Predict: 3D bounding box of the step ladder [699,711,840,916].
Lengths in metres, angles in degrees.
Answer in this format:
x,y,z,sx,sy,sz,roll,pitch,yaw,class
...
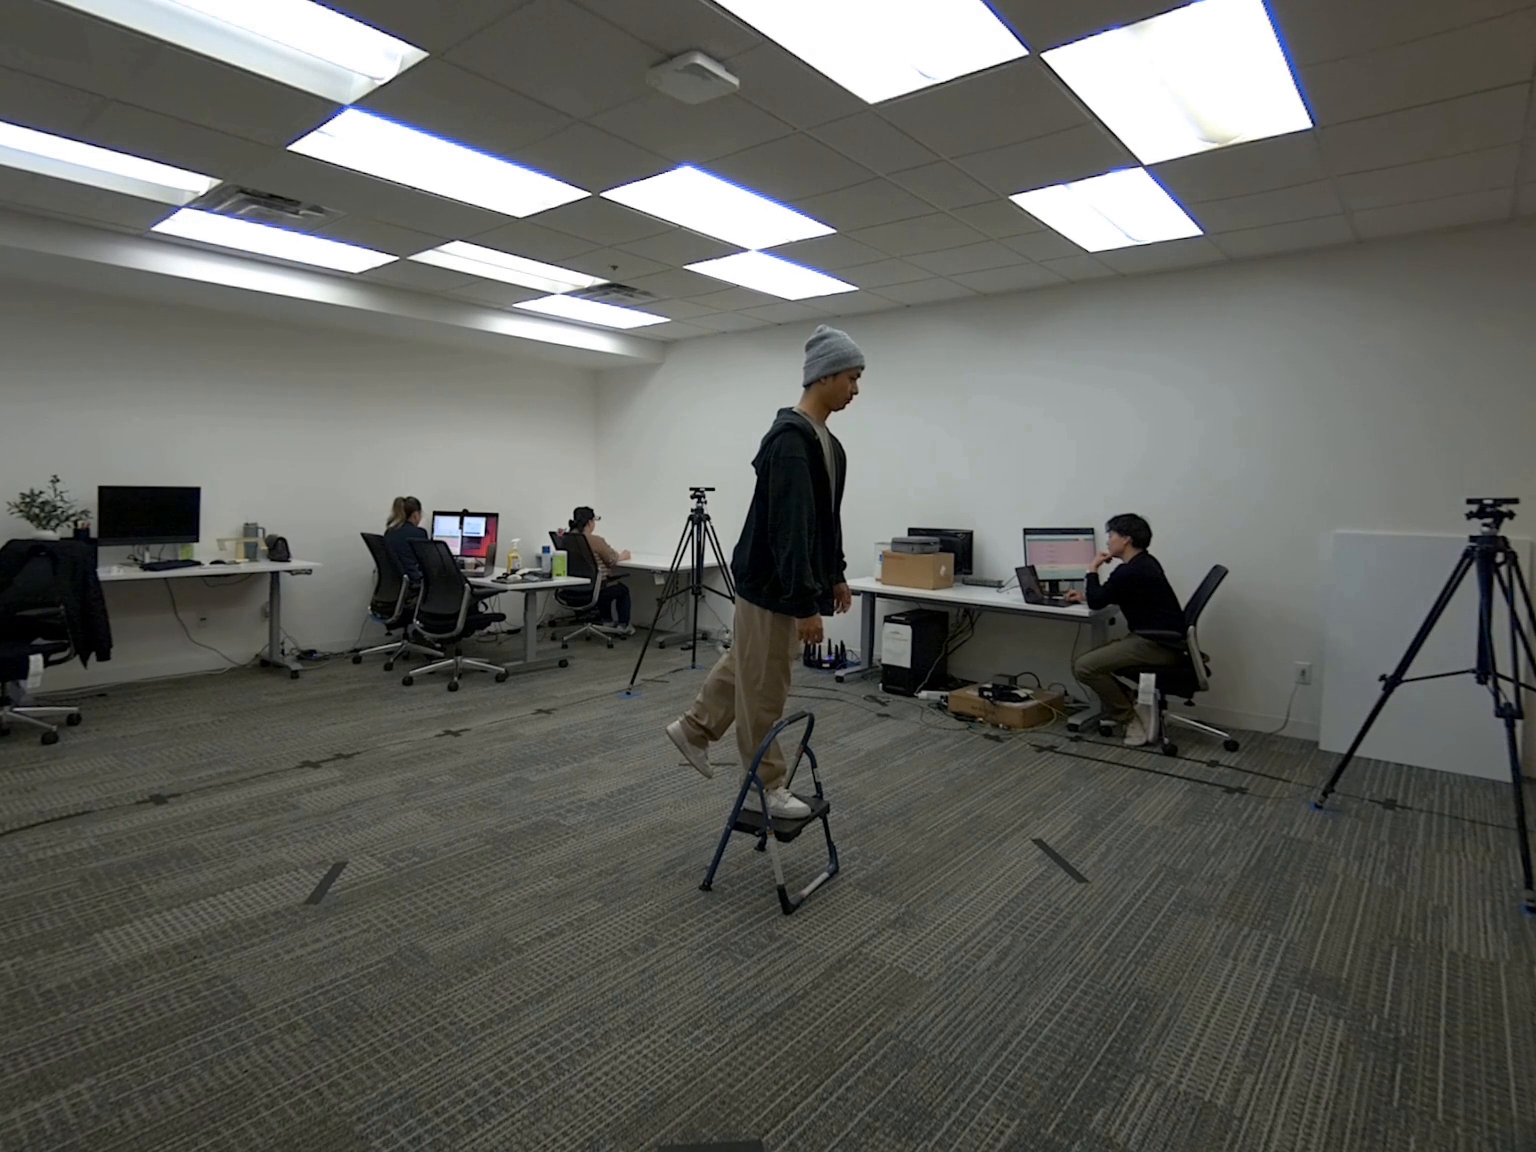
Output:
x,y,z,sx,sy,sz,roll,pitch,yaw,class
0.017,0.779,3.018,0.359,0.604,0.420,4,4,29,step ladder
